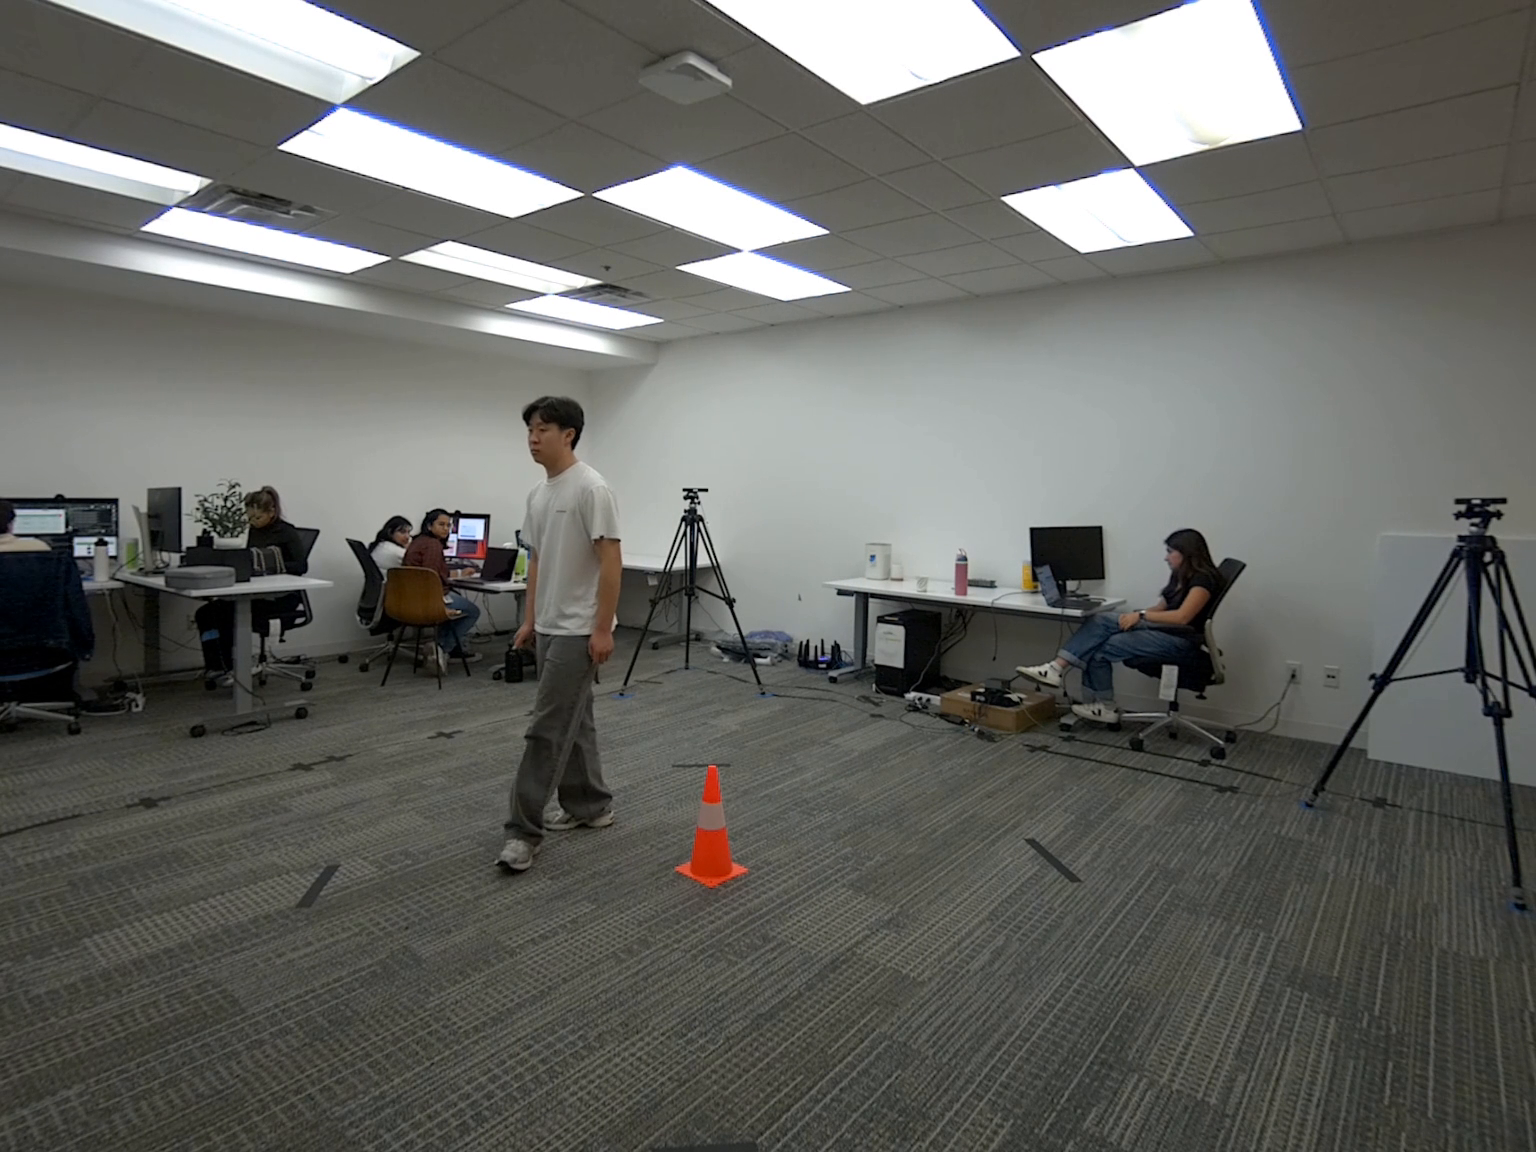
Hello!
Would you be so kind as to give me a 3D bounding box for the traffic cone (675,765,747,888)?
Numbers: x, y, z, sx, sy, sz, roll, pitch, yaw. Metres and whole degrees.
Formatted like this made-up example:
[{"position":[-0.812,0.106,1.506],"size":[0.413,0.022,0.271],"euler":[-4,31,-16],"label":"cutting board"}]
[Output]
[{"position":[-0.210,0.882,3.103],"size":[0.210,0.383,0.199],"euler":[2,3,39],"label":"traffic cone"}]
